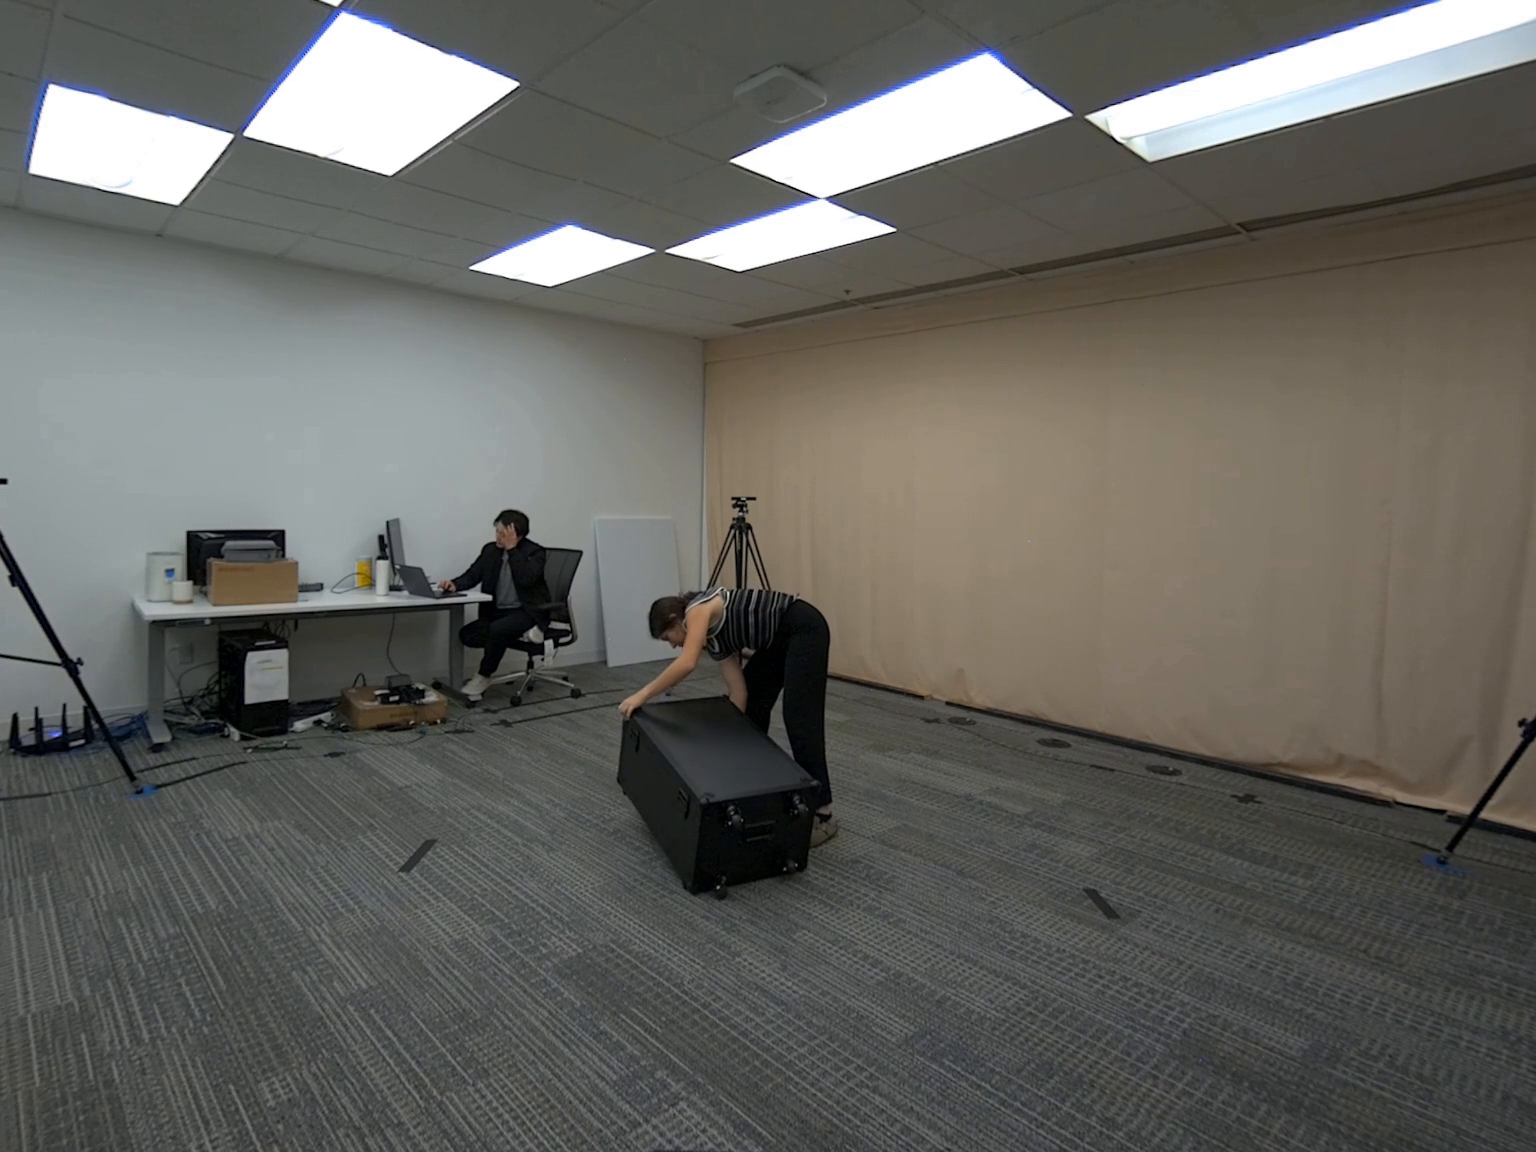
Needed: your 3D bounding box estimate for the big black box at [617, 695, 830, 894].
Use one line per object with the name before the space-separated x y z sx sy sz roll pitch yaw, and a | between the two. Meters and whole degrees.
big black box | -0.228 0.842 3.303 0.511 0.393 0.886 -1 16 -30
